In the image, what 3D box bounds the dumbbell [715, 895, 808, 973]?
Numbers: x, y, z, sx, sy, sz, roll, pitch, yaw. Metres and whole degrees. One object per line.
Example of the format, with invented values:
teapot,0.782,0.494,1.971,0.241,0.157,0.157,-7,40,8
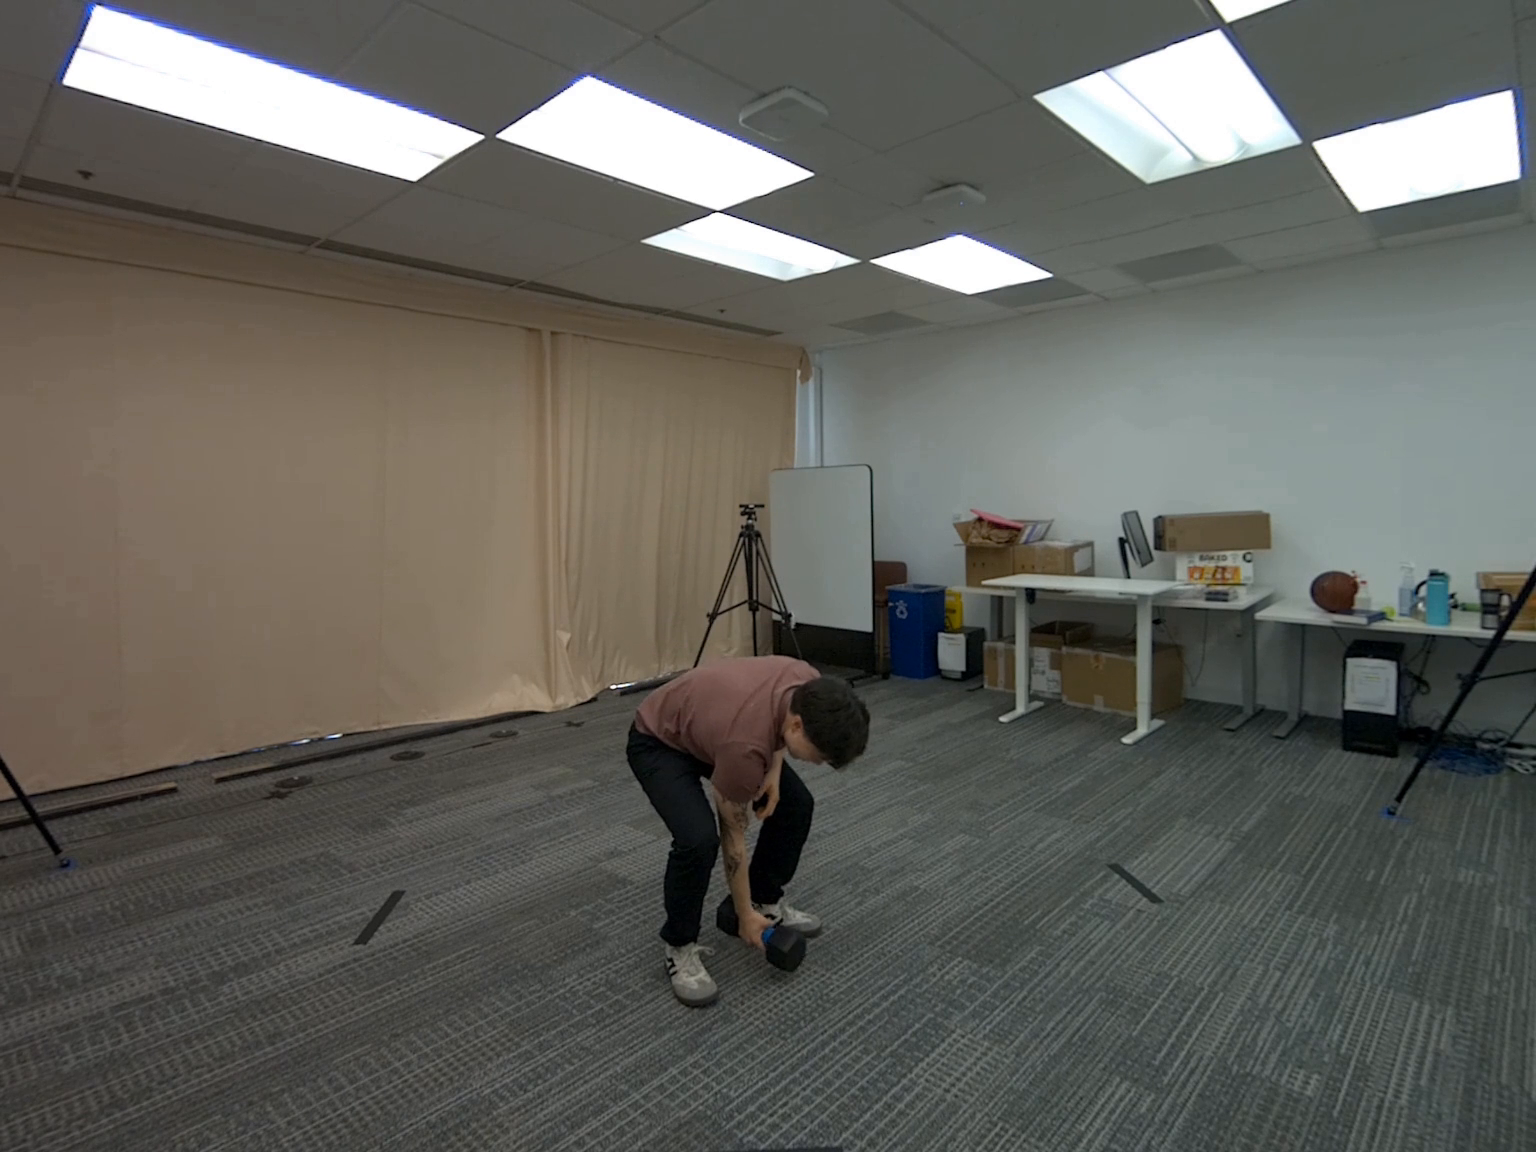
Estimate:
dumbbell,-0.022,1.061,2.539,0.105,0.122,0.304,-7,15,-44
